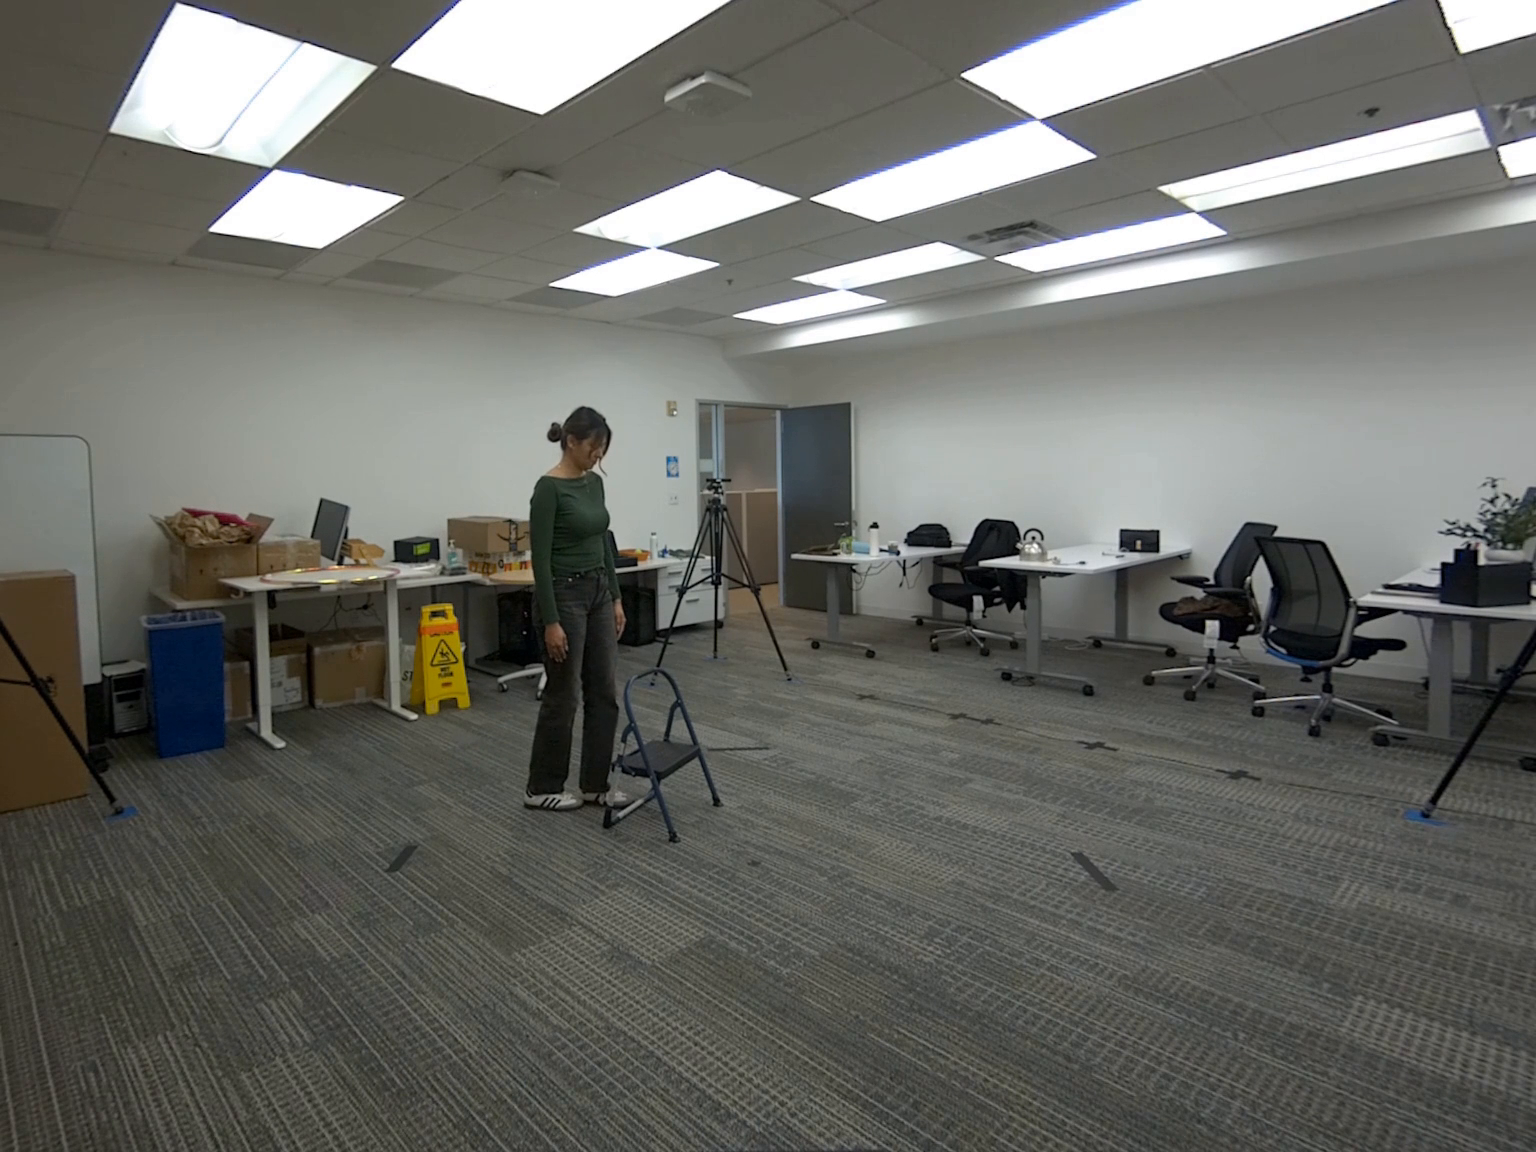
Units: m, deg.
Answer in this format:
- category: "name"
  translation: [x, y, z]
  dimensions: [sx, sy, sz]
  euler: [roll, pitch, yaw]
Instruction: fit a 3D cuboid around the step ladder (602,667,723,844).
- category: "step ladder"
  translation: [-0.440, 0.699, 3.535]
  dimensions: [0.357, 0.604, 0.423]
  euler: [0, 4, 23]
